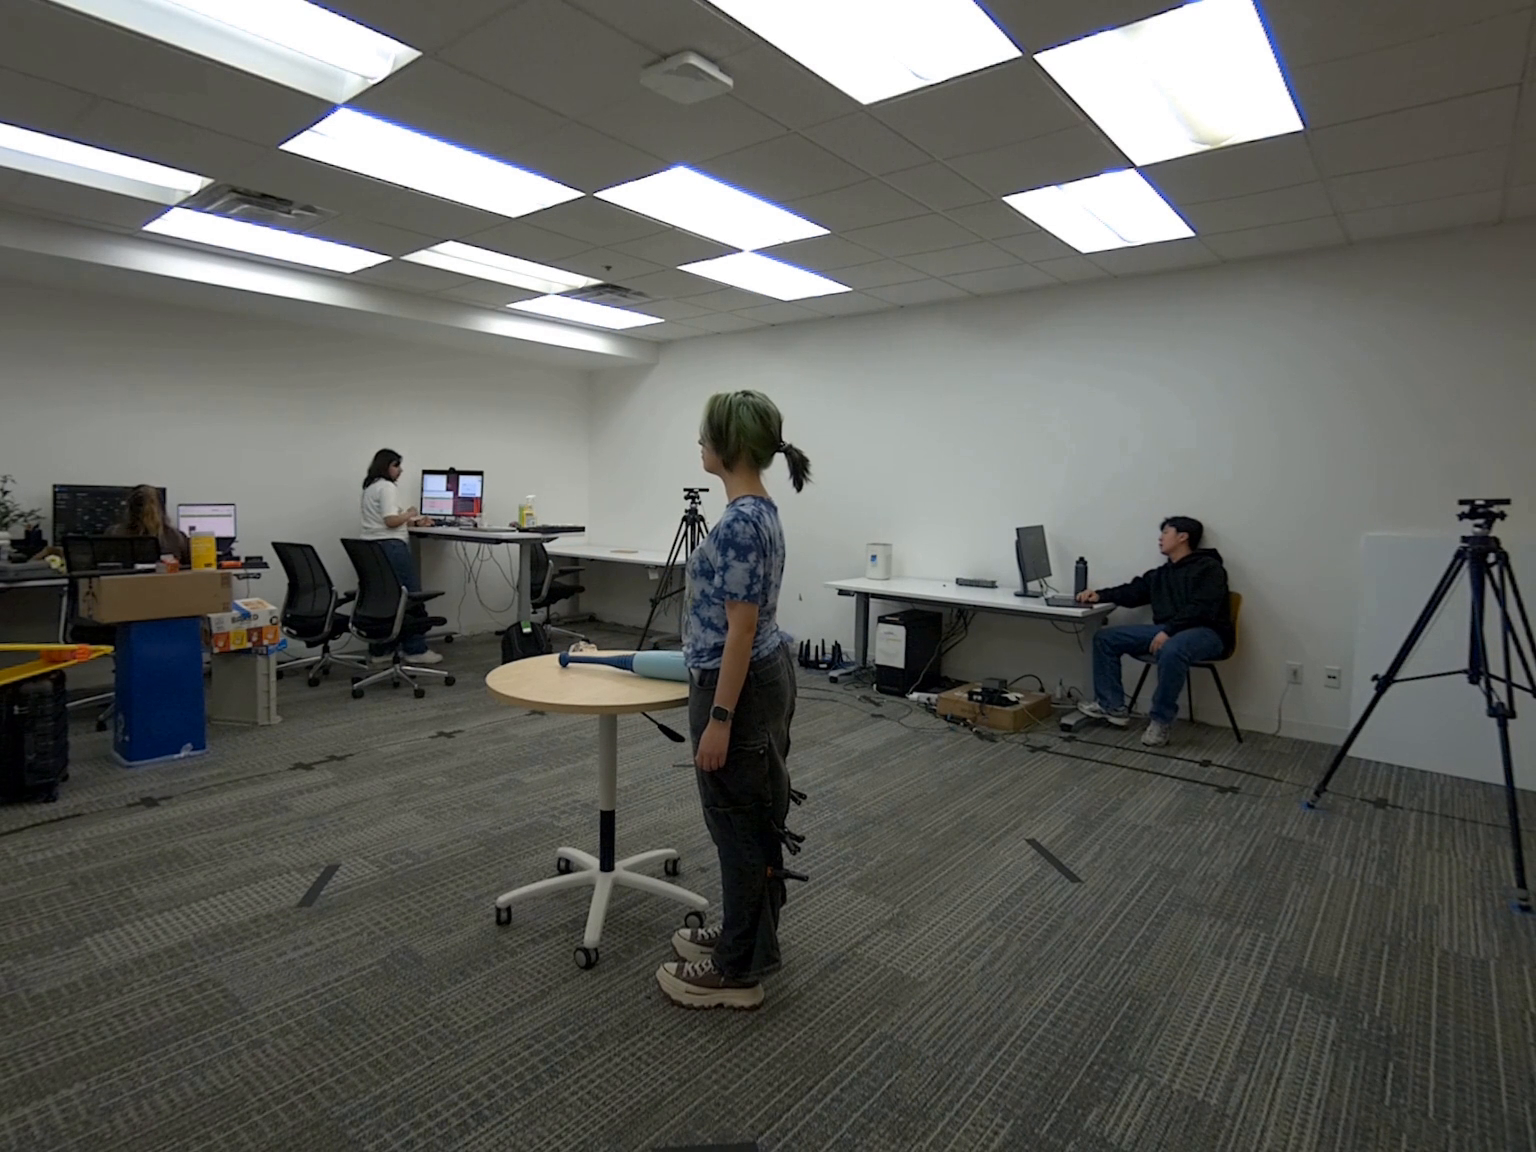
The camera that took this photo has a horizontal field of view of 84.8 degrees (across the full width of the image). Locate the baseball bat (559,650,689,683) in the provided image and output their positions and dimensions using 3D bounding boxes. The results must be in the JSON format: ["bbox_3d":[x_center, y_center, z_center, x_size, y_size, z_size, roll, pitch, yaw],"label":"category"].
[{"bbox_3d":[-0.456,0.283,2.737,0.555,0.089,0.087,0,3,22],"label":"baseball bat"}]
